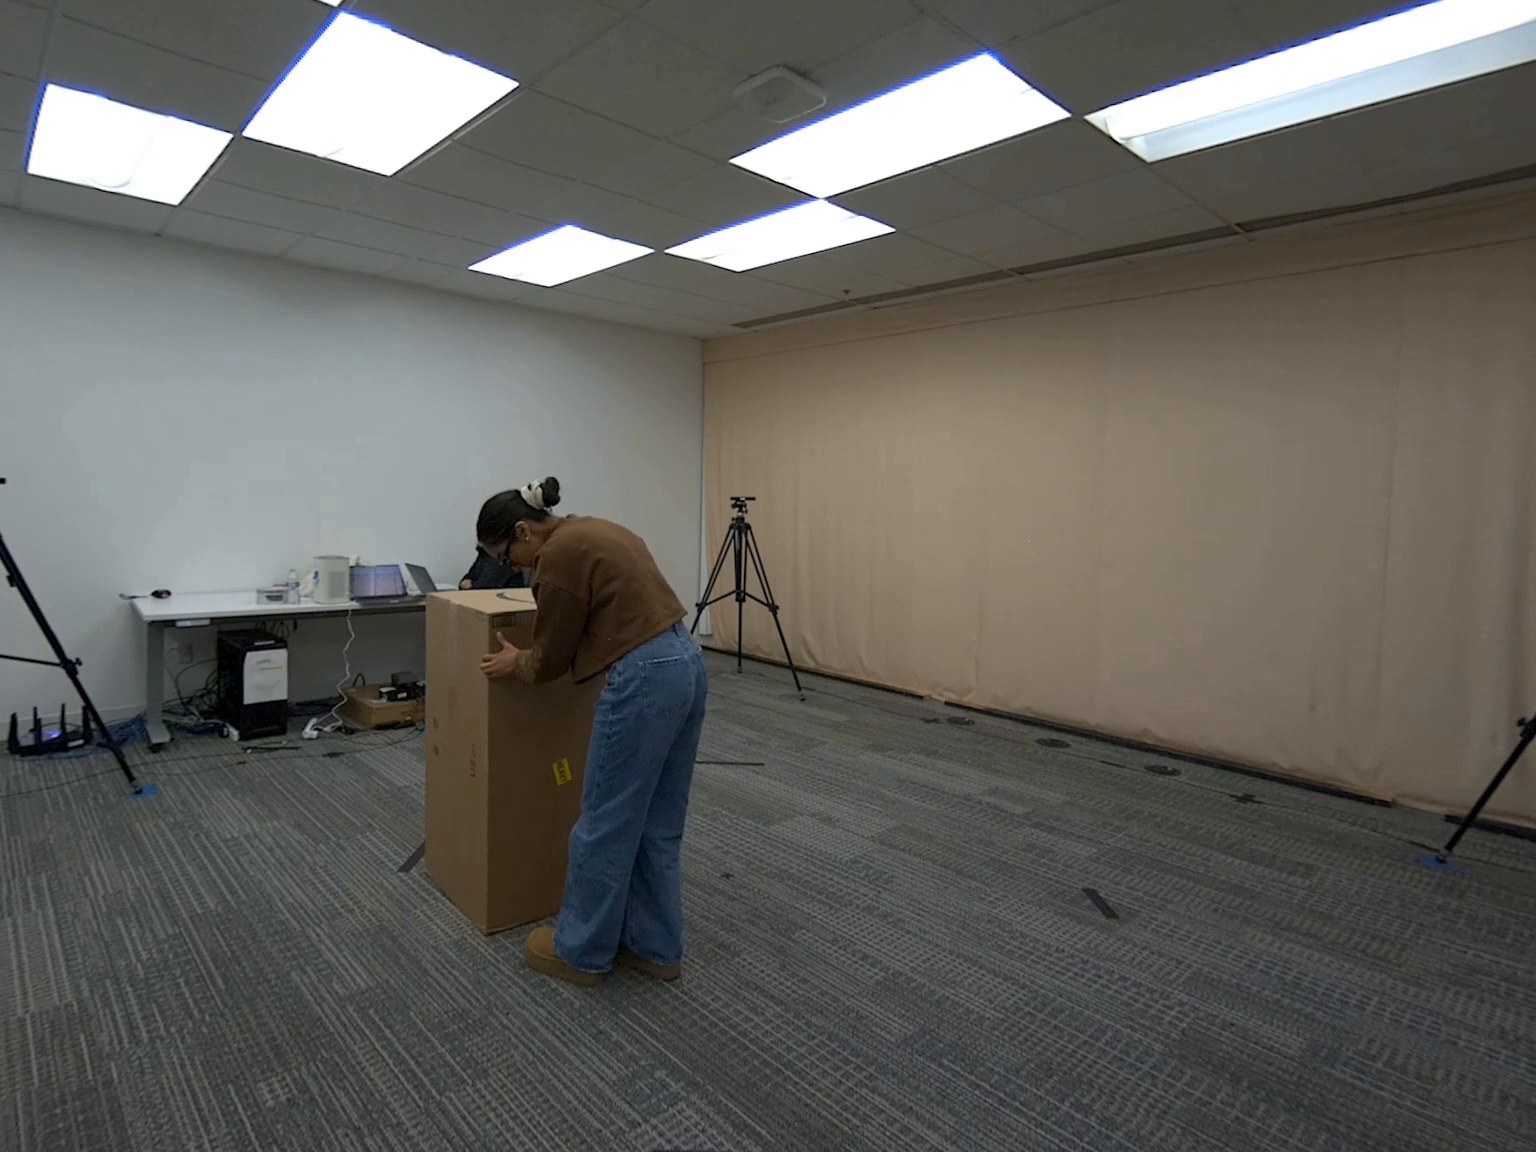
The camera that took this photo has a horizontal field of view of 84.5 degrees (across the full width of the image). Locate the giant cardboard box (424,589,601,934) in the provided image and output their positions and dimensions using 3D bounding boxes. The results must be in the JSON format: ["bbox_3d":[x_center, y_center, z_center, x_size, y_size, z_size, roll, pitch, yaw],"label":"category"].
[{"bbox_3d":[-0.904,0.593,2.970,0.416,1.023,0.592,-1,4,-40],"label":"giant cardboard box"}]
